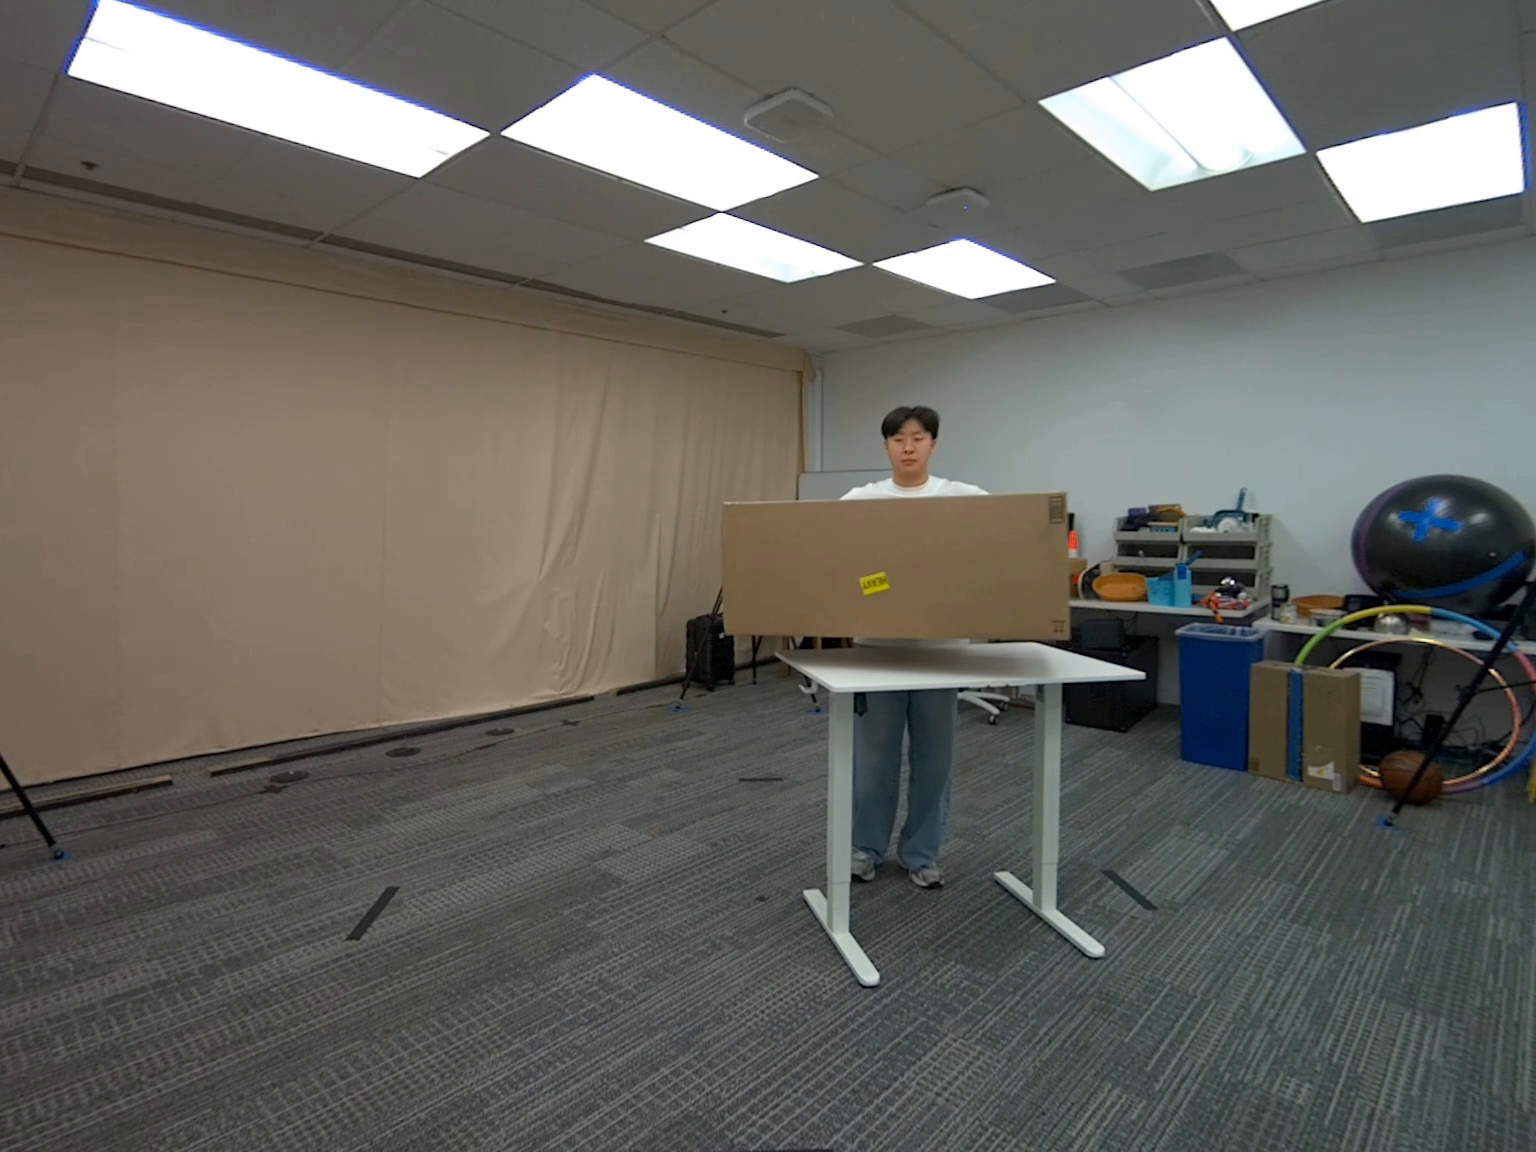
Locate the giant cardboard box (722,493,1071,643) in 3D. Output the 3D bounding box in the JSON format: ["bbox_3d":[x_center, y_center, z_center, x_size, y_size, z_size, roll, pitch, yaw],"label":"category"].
[{"bbox_3d":[0.418,-0.036,2.788,1.044,0.425,0.568,0,3,16],"label":"giant cardboard box"}]
